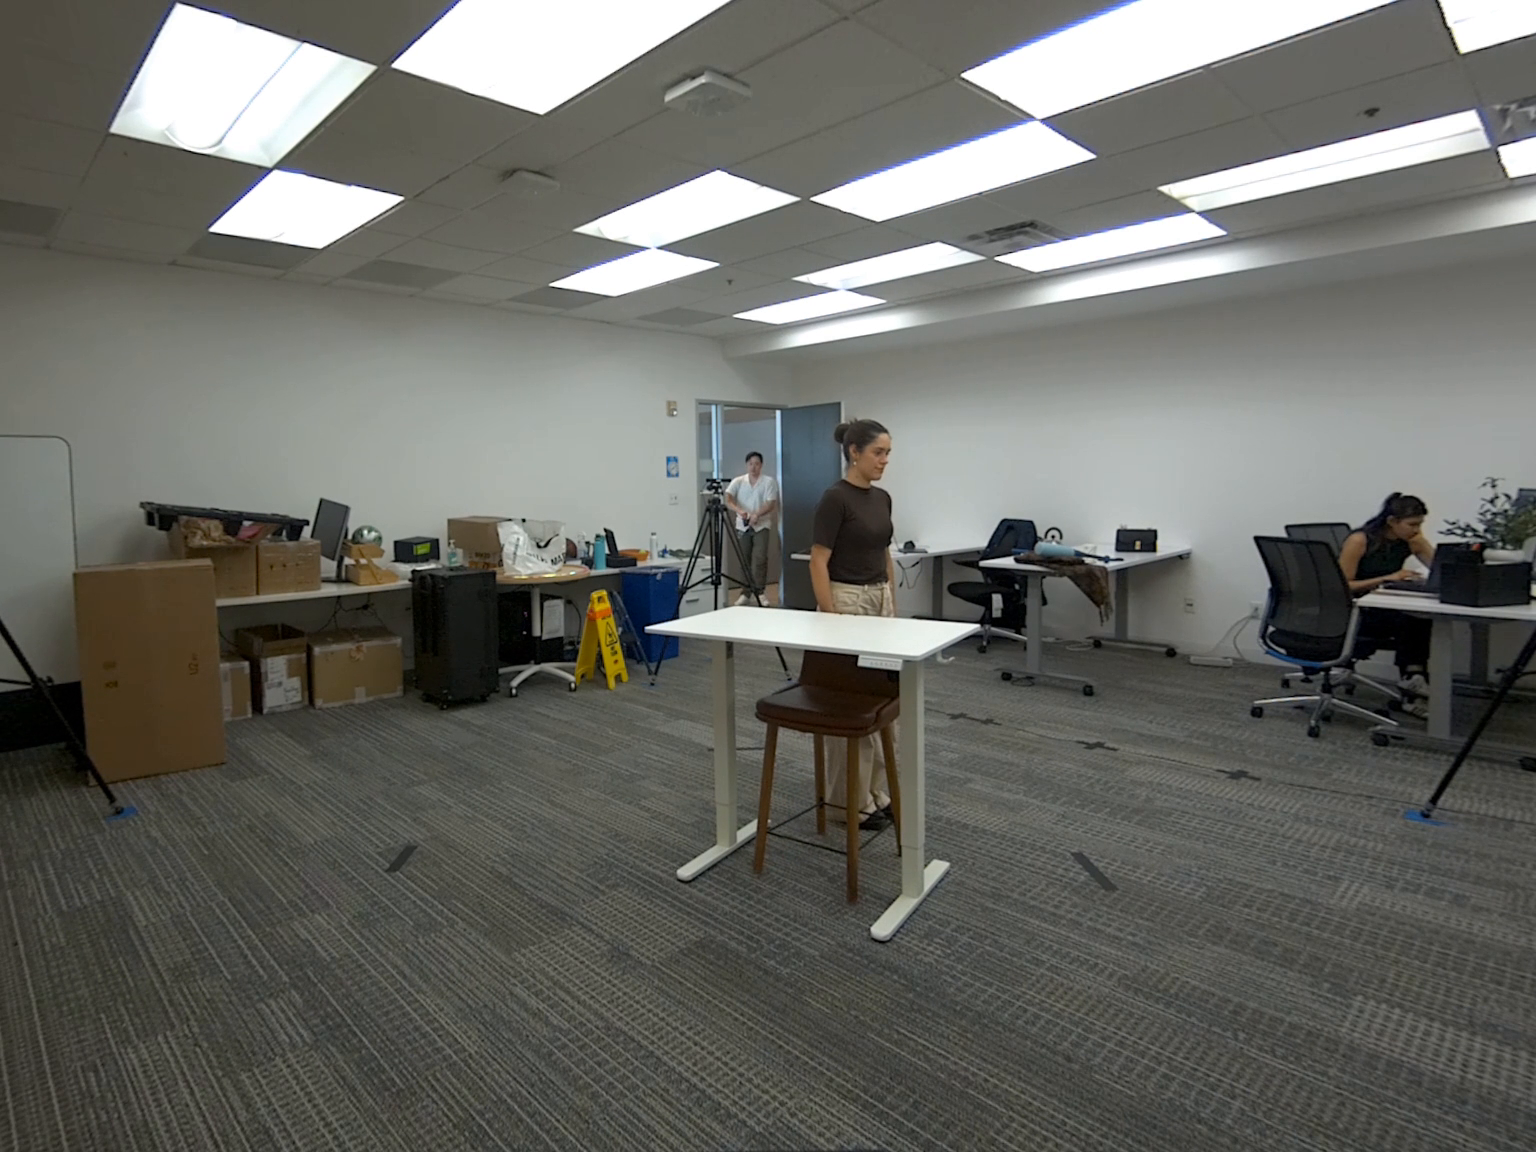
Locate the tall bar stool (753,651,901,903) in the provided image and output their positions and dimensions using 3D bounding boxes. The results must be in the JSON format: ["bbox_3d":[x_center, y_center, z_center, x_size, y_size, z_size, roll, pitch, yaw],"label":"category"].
[{"bbox_3d":[0.238,0.611,3.065,0.469,0.888,0.455,2,3,35],"label":"tall bar stool"}]
